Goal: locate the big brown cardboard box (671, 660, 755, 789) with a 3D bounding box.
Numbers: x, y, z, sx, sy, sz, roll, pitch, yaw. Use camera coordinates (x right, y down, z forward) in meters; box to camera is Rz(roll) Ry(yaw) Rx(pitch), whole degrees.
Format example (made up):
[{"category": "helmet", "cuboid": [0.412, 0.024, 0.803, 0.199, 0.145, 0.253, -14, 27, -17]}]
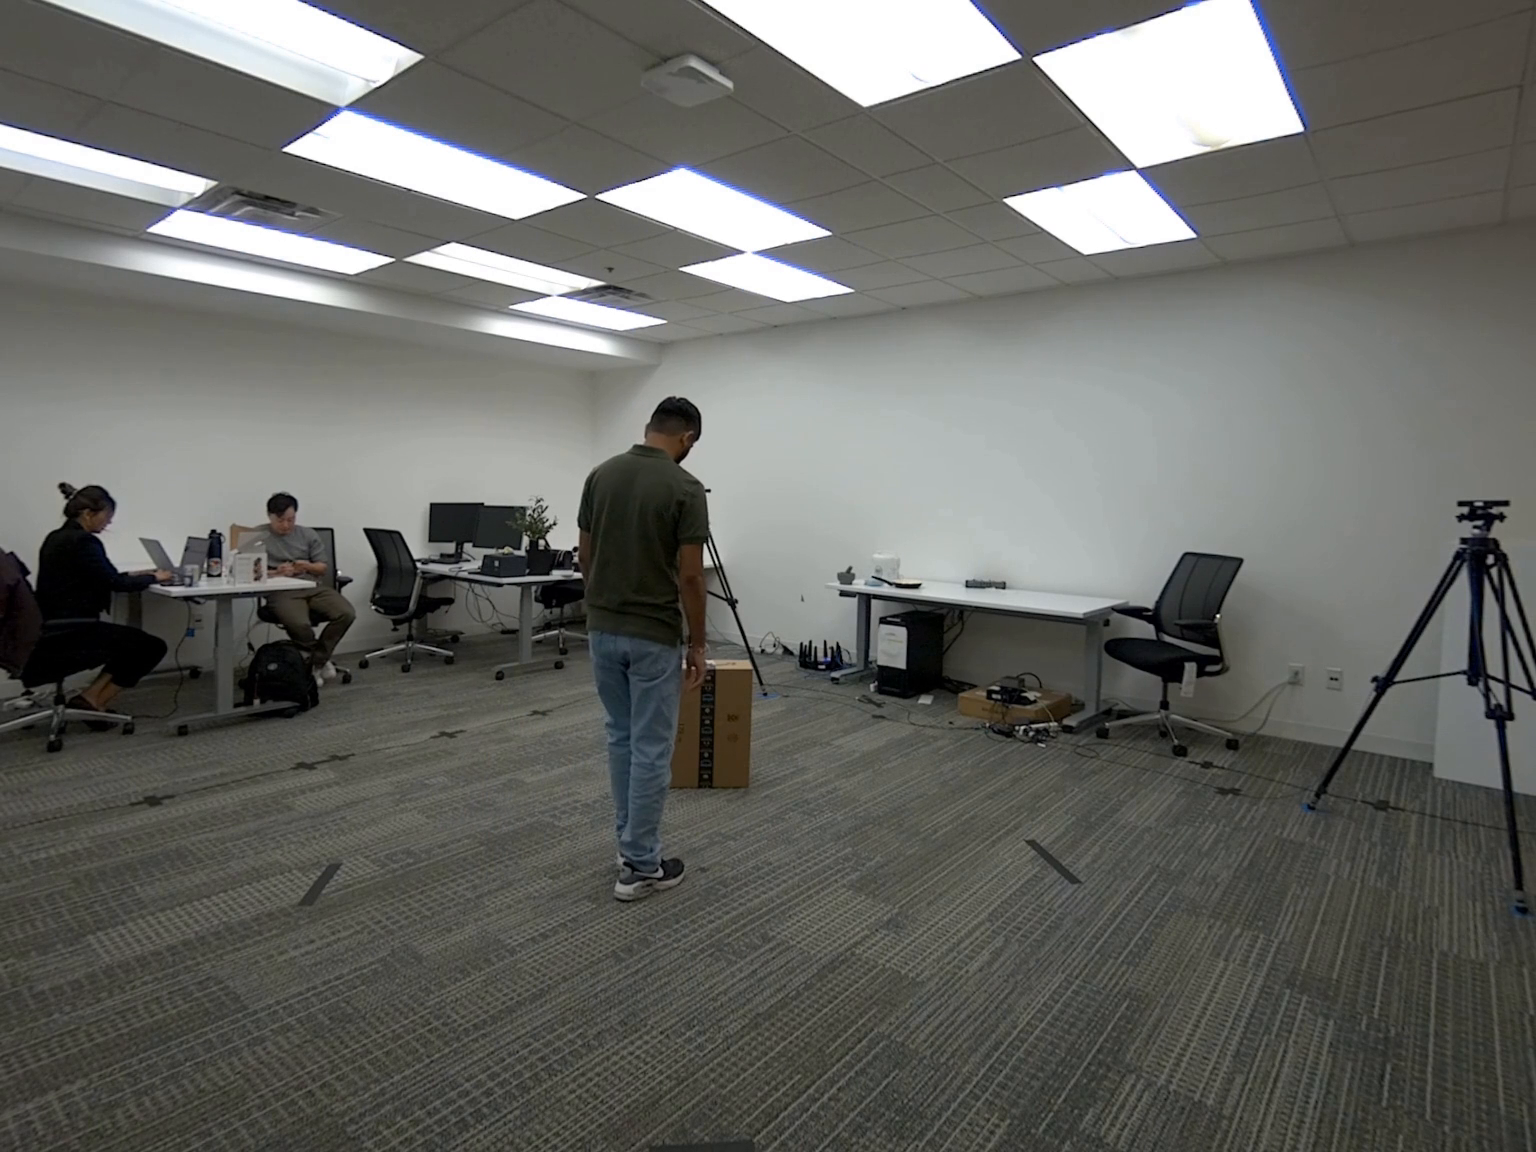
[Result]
[{"category": "big brown cardboard box", "cuboid": [-0.305, 0.698, 4.068, 0.416, 0.586, 0.235, 2, 4, -4]}]
